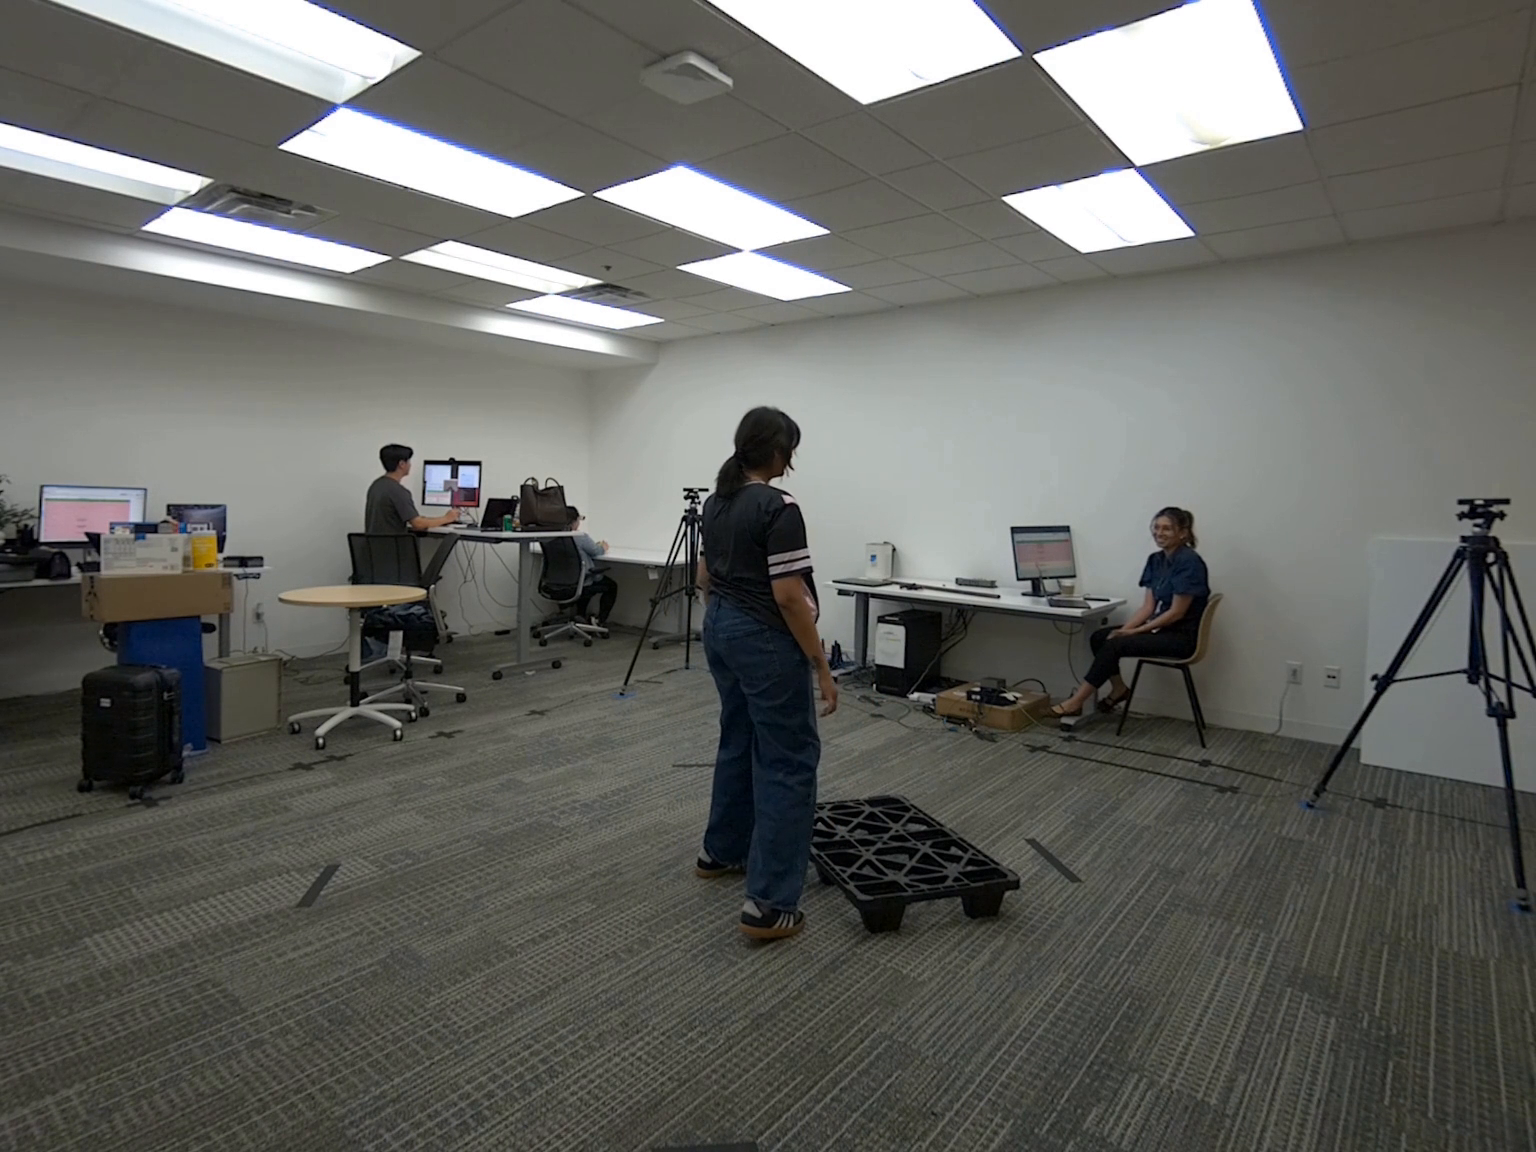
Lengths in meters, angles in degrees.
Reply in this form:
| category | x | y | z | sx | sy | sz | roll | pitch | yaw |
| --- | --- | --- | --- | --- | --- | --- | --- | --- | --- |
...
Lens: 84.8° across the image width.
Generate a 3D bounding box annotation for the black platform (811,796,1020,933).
| category | x | y | z | sx | sy | sz | roll | pitch | yaw |
| --- | --- | --- | --- | --- | --- | --- | --- | --- | --- |
| black platform | 0.412 | 1.017 | 3.093 | 0.593 | 0.143 | 0.824 | 0 | 6 | -20 |
